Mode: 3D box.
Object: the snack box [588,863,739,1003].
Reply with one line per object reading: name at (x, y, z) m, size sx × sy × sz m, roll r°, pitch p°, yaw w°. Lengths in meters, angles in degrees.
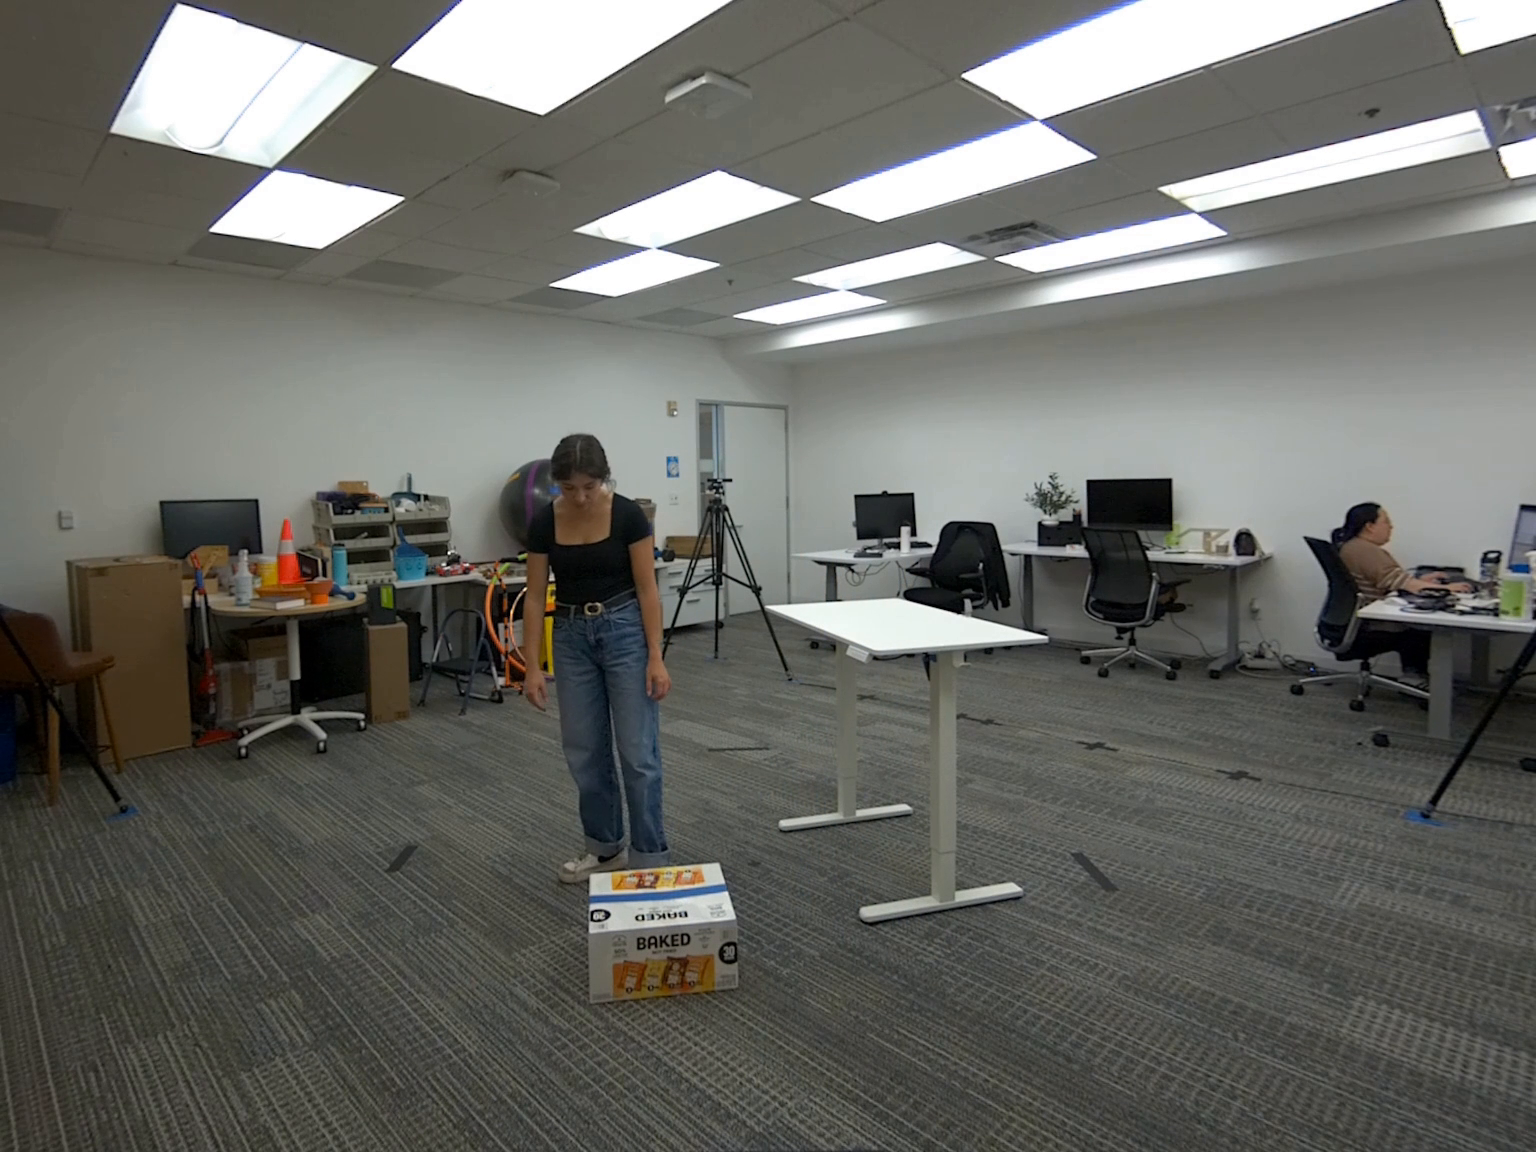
snack box at (-0.307, 1.025, 2.470) m, size 0.402 × 0.205 × 0.345 m, roll -2°, pitch 6°, yaw -10°
